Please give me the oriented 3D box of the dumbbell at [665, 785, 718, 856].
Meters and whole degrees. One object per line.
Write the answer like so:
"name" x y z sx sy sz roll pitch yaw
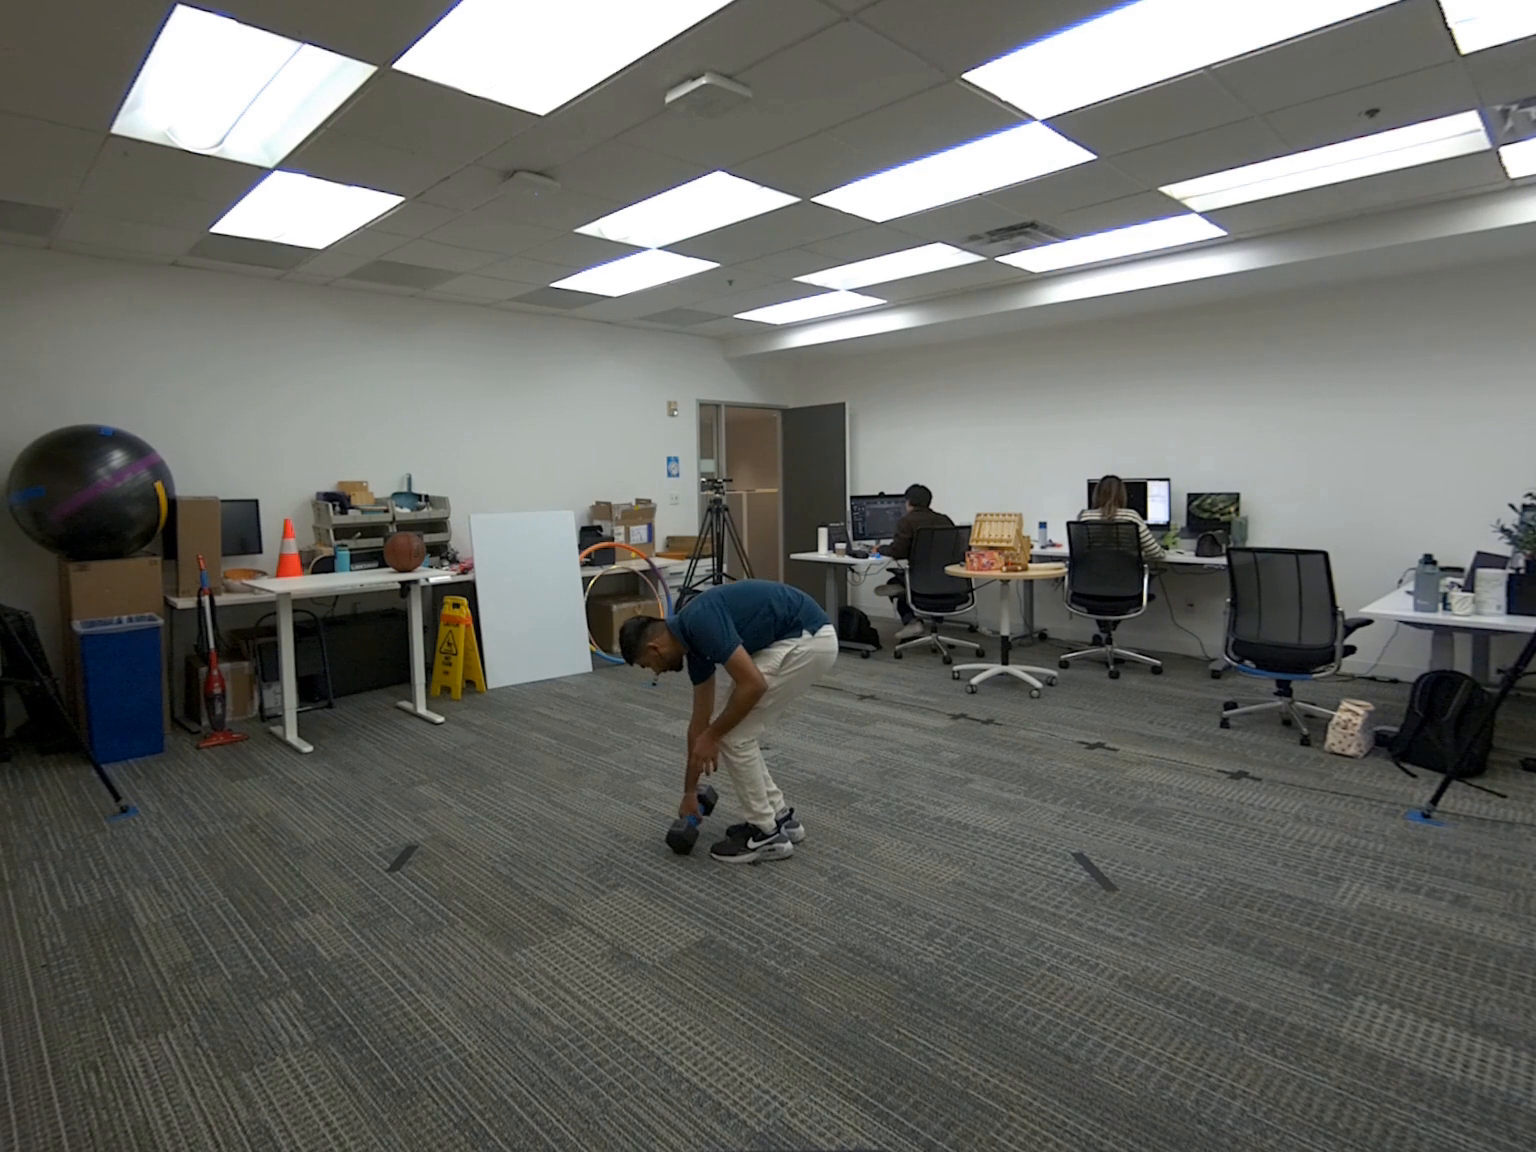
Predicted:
"dumbbell" -0.283 0.924 3.292 0.109 0.122 0.294 -36 7 28
